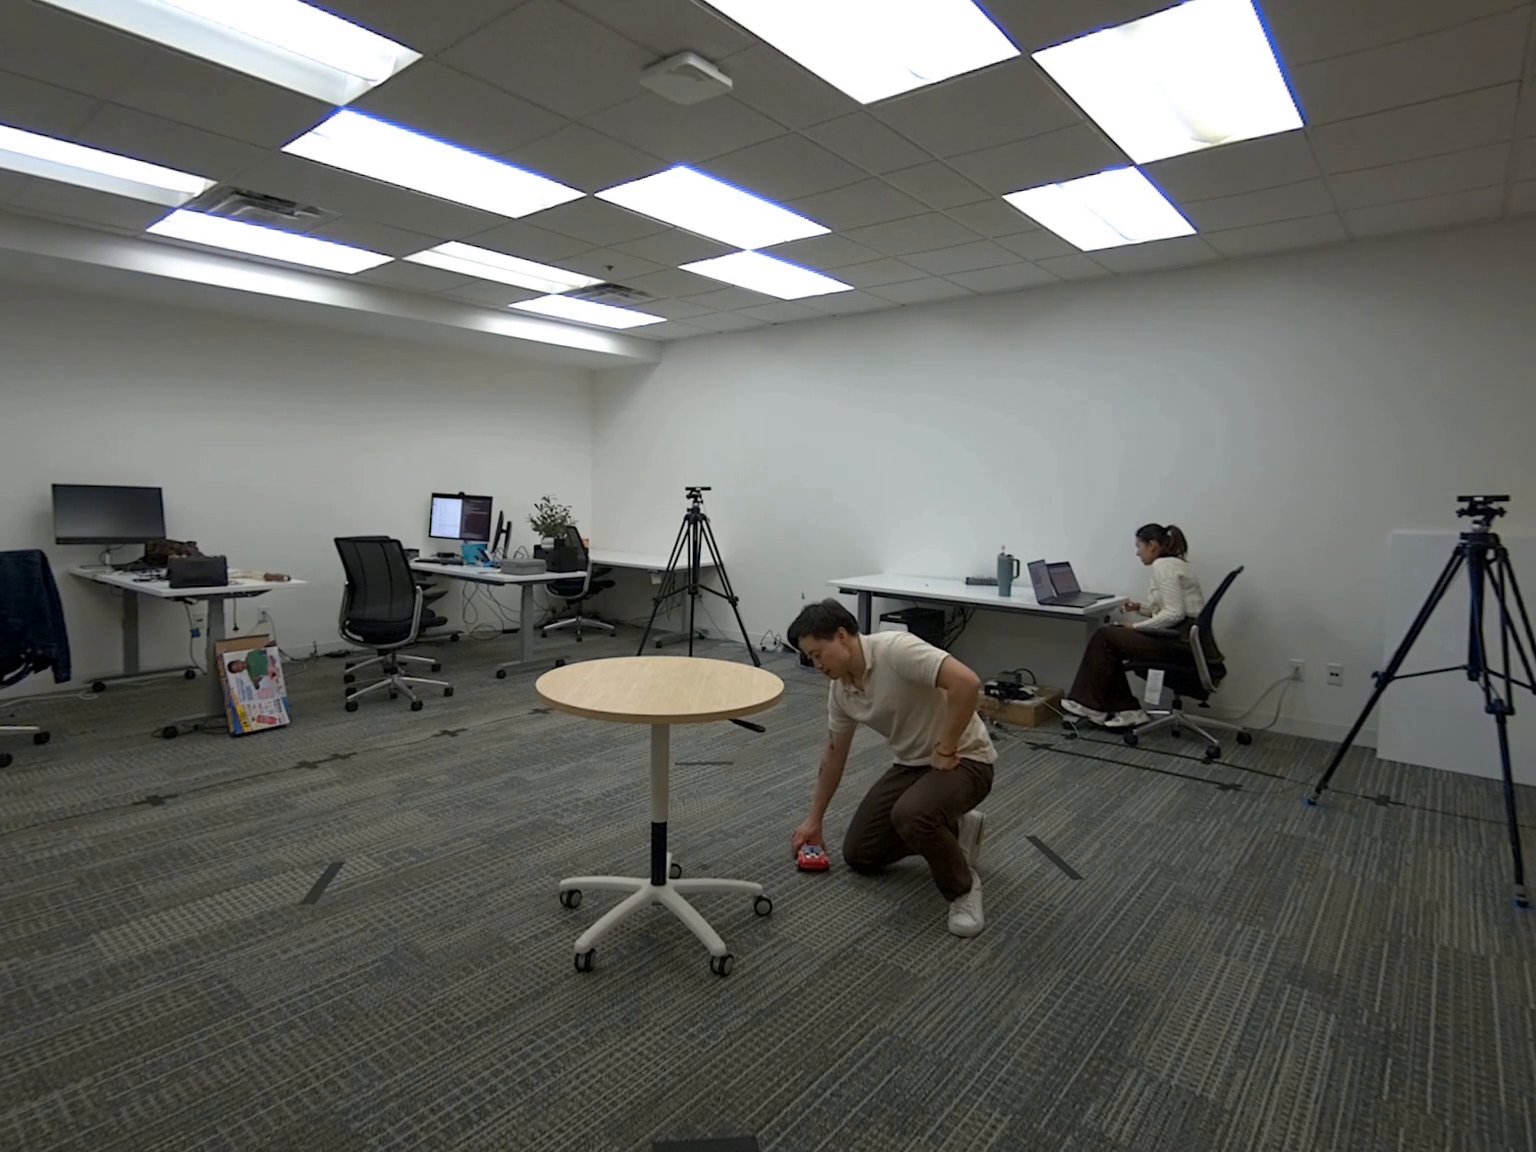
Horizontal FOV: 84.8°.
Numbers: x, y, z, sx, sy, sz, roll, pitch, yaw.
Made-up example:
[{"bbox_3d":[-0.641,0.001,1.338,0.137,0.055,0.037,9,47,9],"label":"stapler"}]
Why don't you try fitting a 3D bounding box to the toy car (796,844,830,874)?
[{"bbox_3d":[0.158,1.034,3.216,0.130,0.082,0.259,0,16,-3],"label":"toy car"}]
